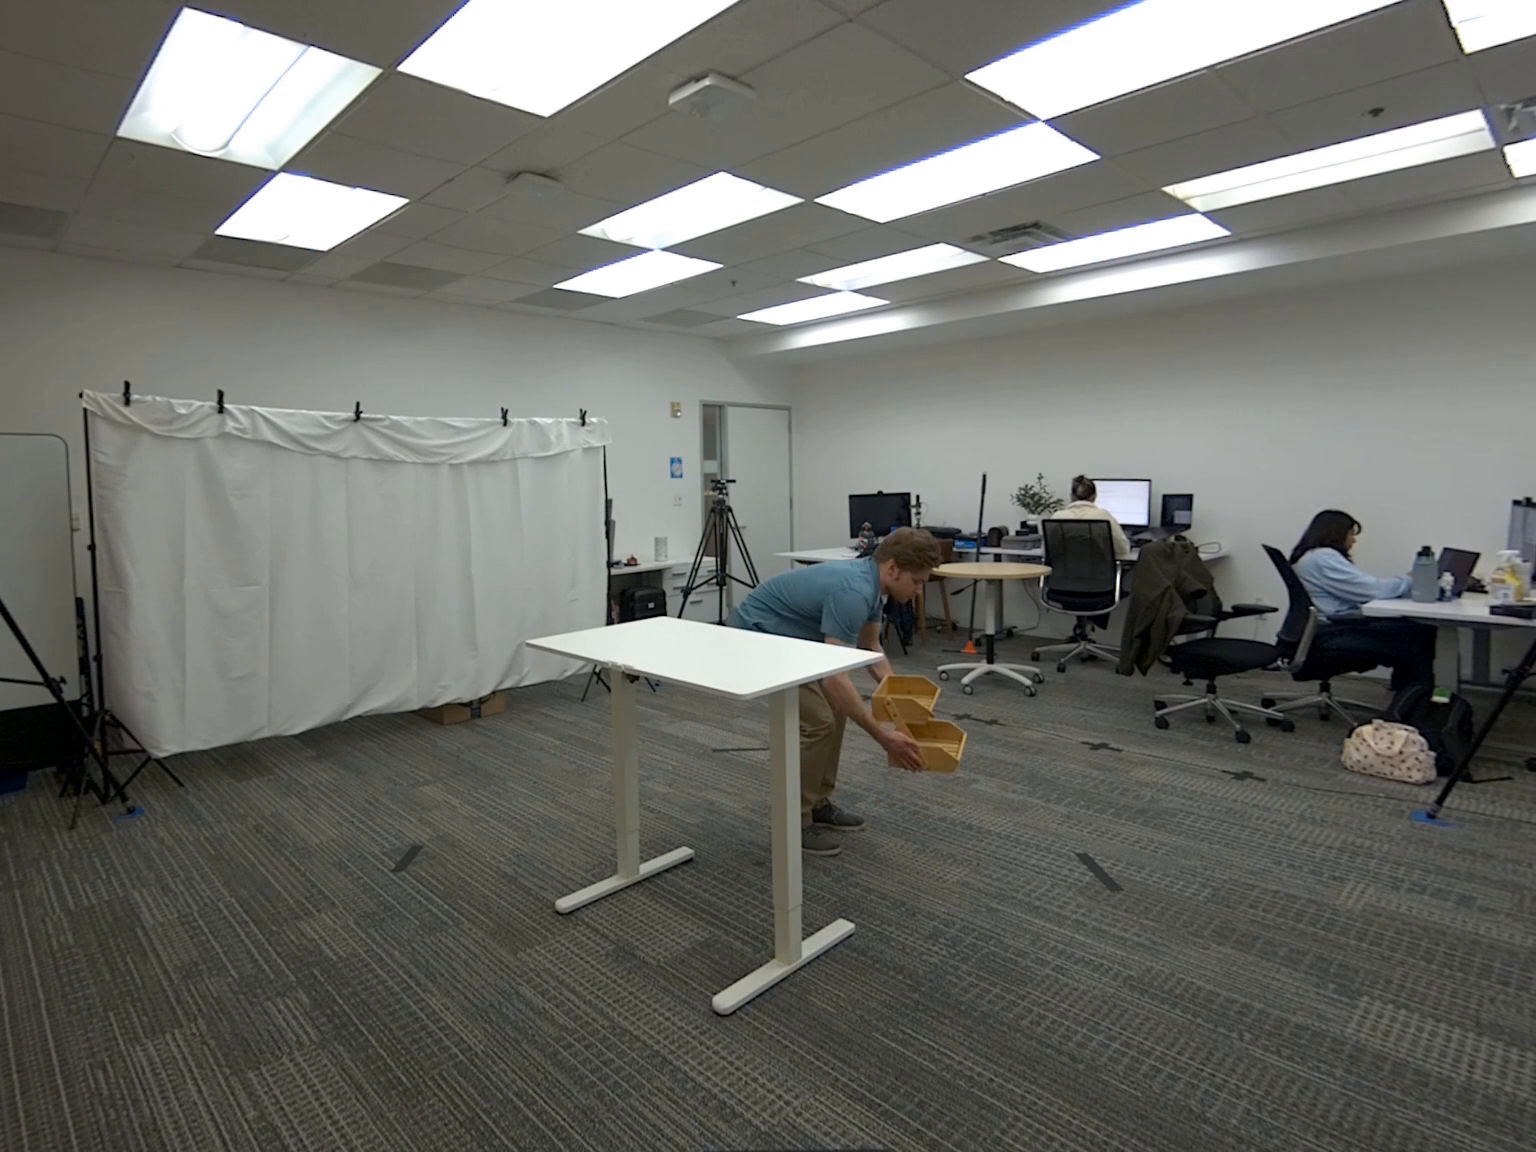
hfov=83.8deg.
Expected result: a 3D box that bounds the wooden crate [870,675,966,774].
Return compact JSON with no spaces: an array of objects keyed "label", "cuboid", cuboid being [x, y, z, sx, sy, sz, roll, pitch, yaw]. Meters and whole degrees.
[{"label":"wooden crate","cuboid":[0.563,0.531,3.163,0.307,0.272,0.320,-1,7,19]}]
